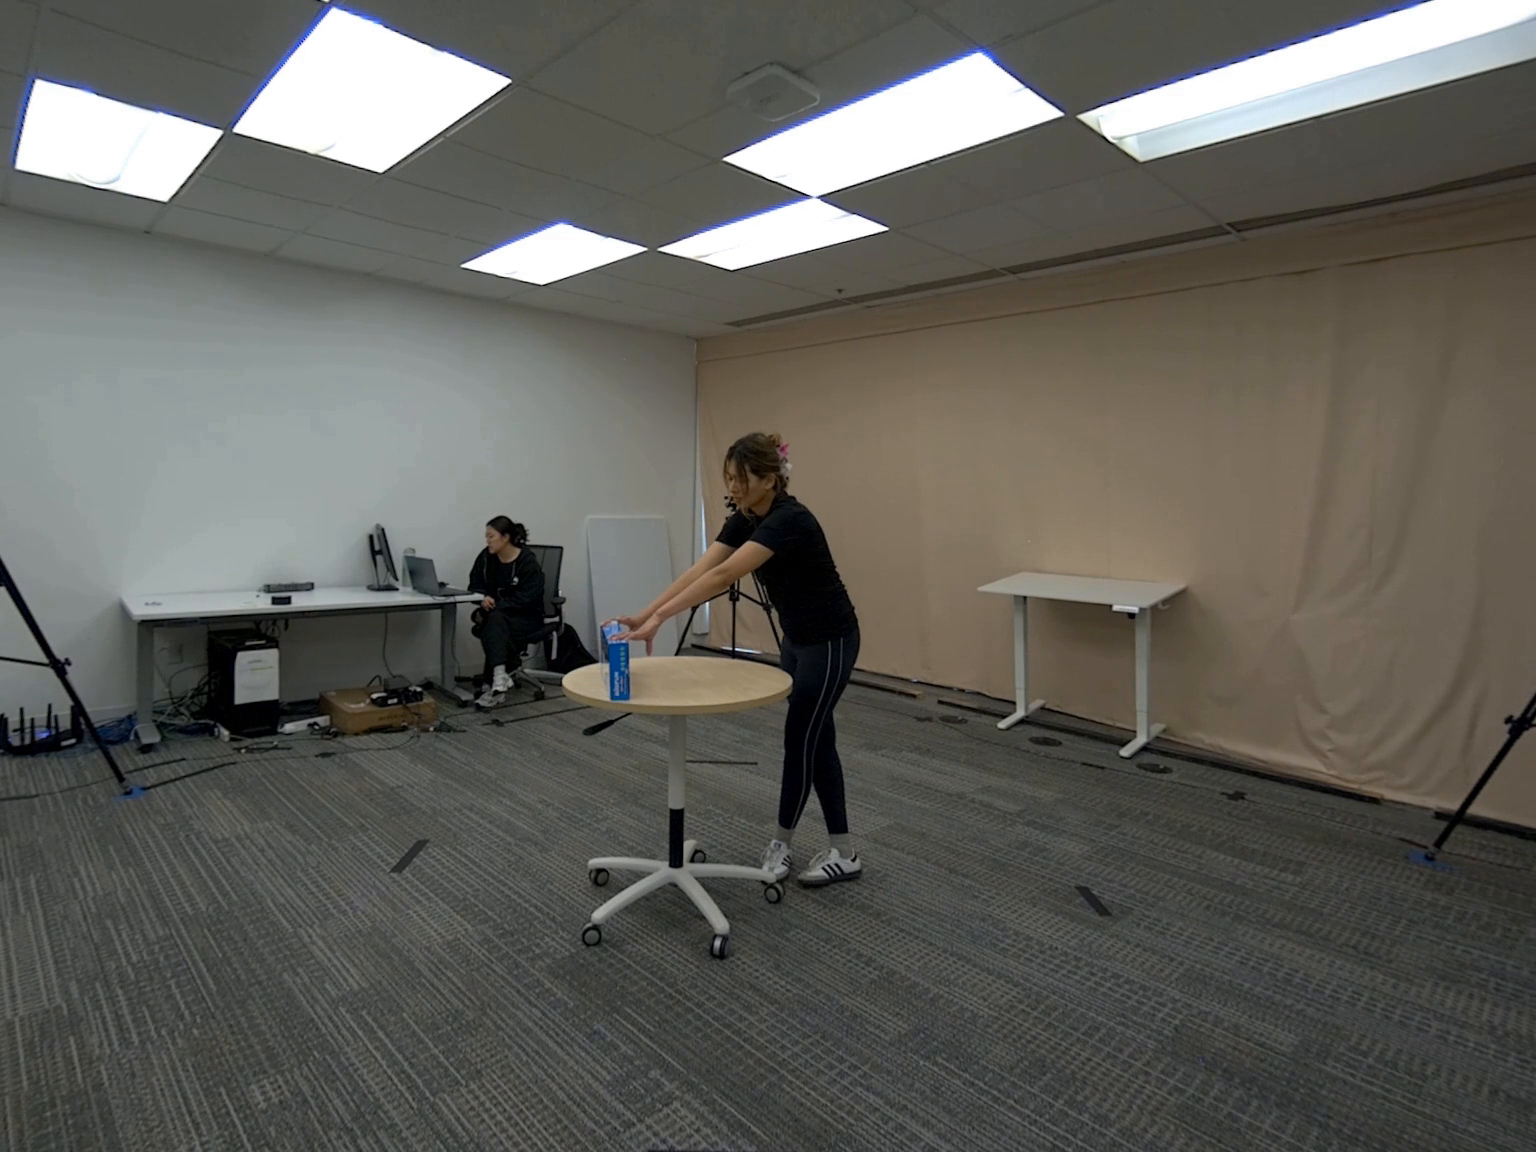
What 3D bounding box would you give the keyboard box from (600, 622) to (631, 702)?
[{"bbox_3d":[-0.496,0.263,2.700,0.058,0.175,0.442,-2,5,-13],"label":"keyboard box"}]
